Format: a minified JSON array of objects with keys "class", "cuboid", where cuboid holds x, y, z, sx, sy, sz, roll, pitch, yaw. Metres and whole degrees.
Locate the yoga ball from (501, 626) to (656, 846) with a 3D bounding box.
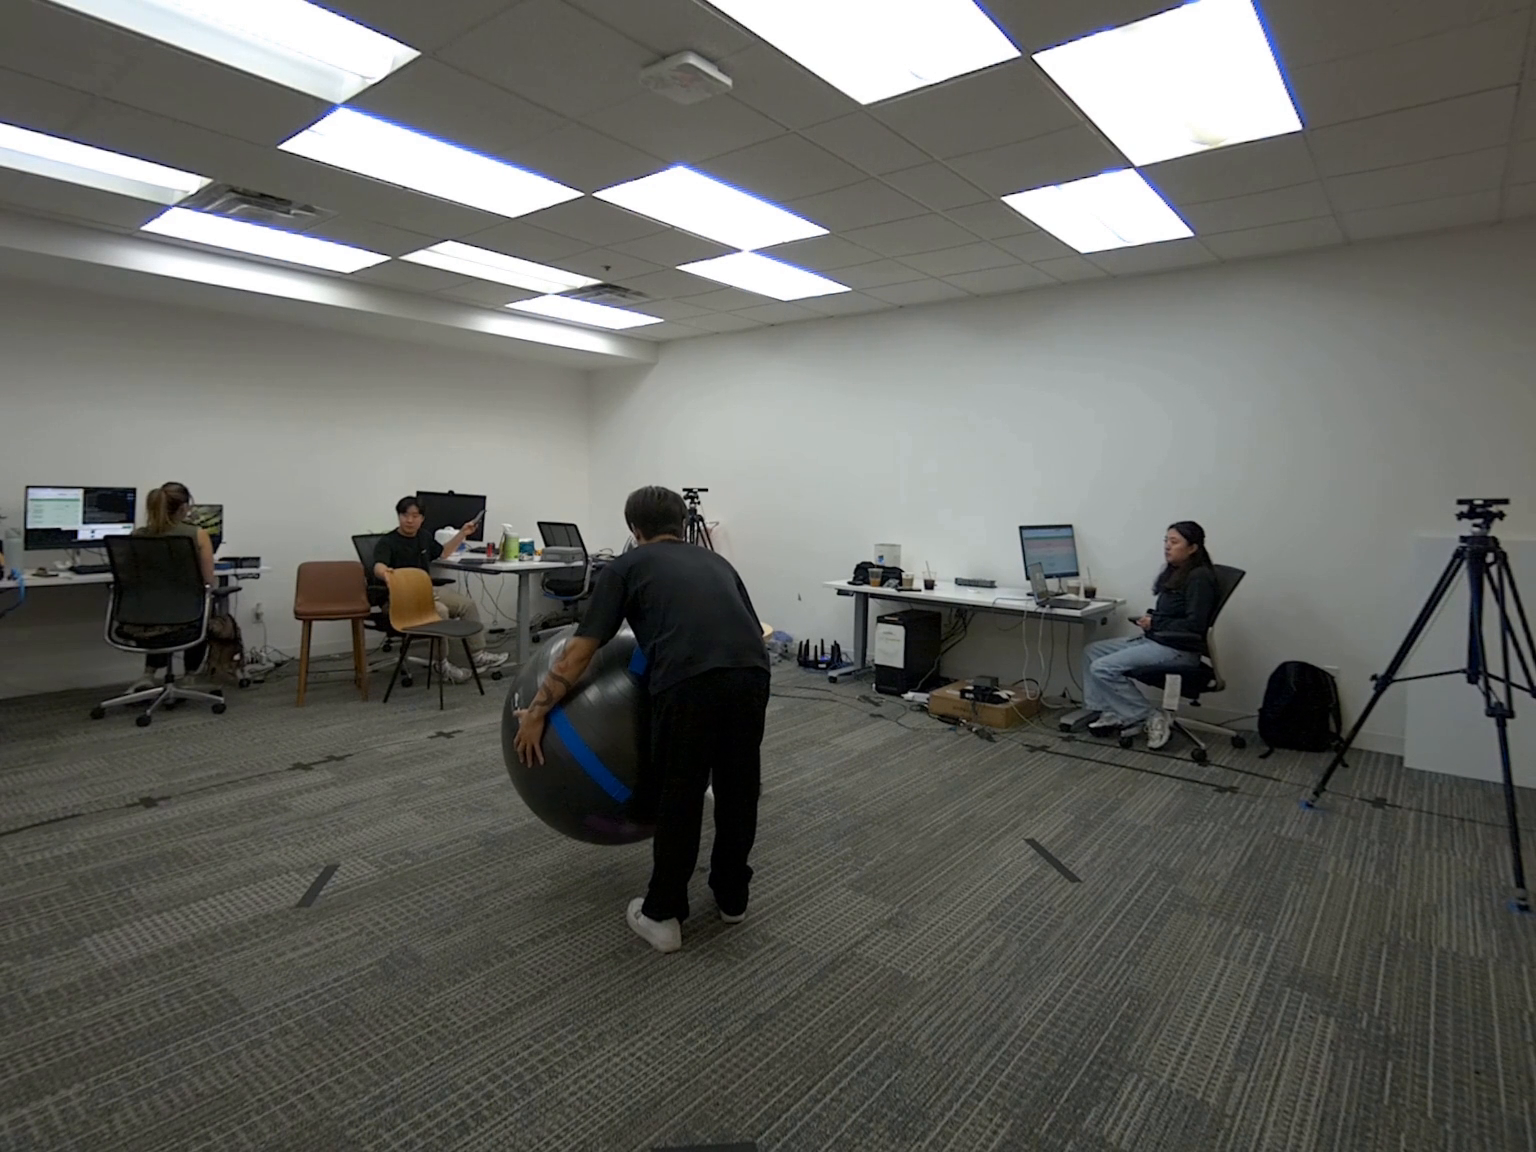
[{"class":"yoga ball","cuboid":[-0.548,0.532,2.928,0.757,0.755,0.762,1,4,-2]}]
